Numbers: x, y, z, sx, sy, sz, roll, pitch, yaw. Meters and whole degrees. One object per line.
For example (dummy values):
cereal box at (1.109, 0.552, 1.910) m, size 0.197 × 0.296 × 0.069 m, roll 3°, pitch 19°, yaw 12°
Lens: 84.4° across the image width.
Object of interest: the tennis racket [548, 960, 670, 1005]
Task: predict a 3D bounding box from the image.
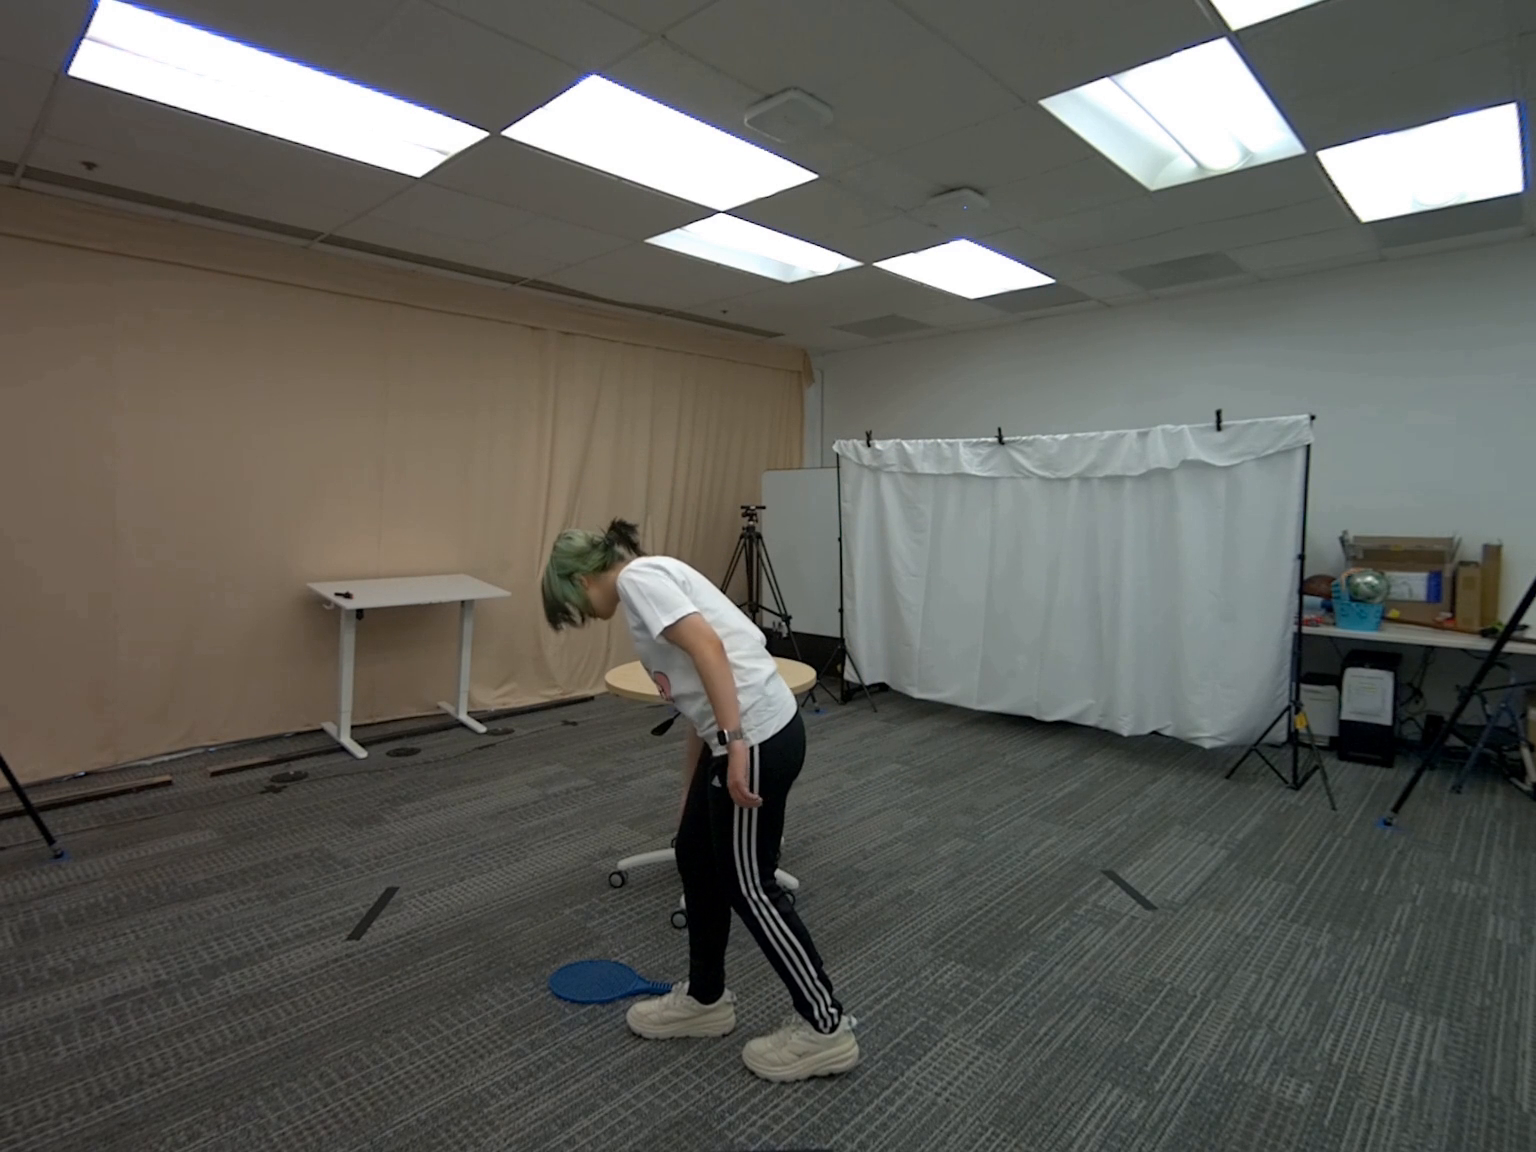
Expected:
tennis racket at (-0.429, 1.178, 2.438) m, size 0.439 × 0.032 × 0.211 m, roll -1°, pitch 4°, yaw 13°
